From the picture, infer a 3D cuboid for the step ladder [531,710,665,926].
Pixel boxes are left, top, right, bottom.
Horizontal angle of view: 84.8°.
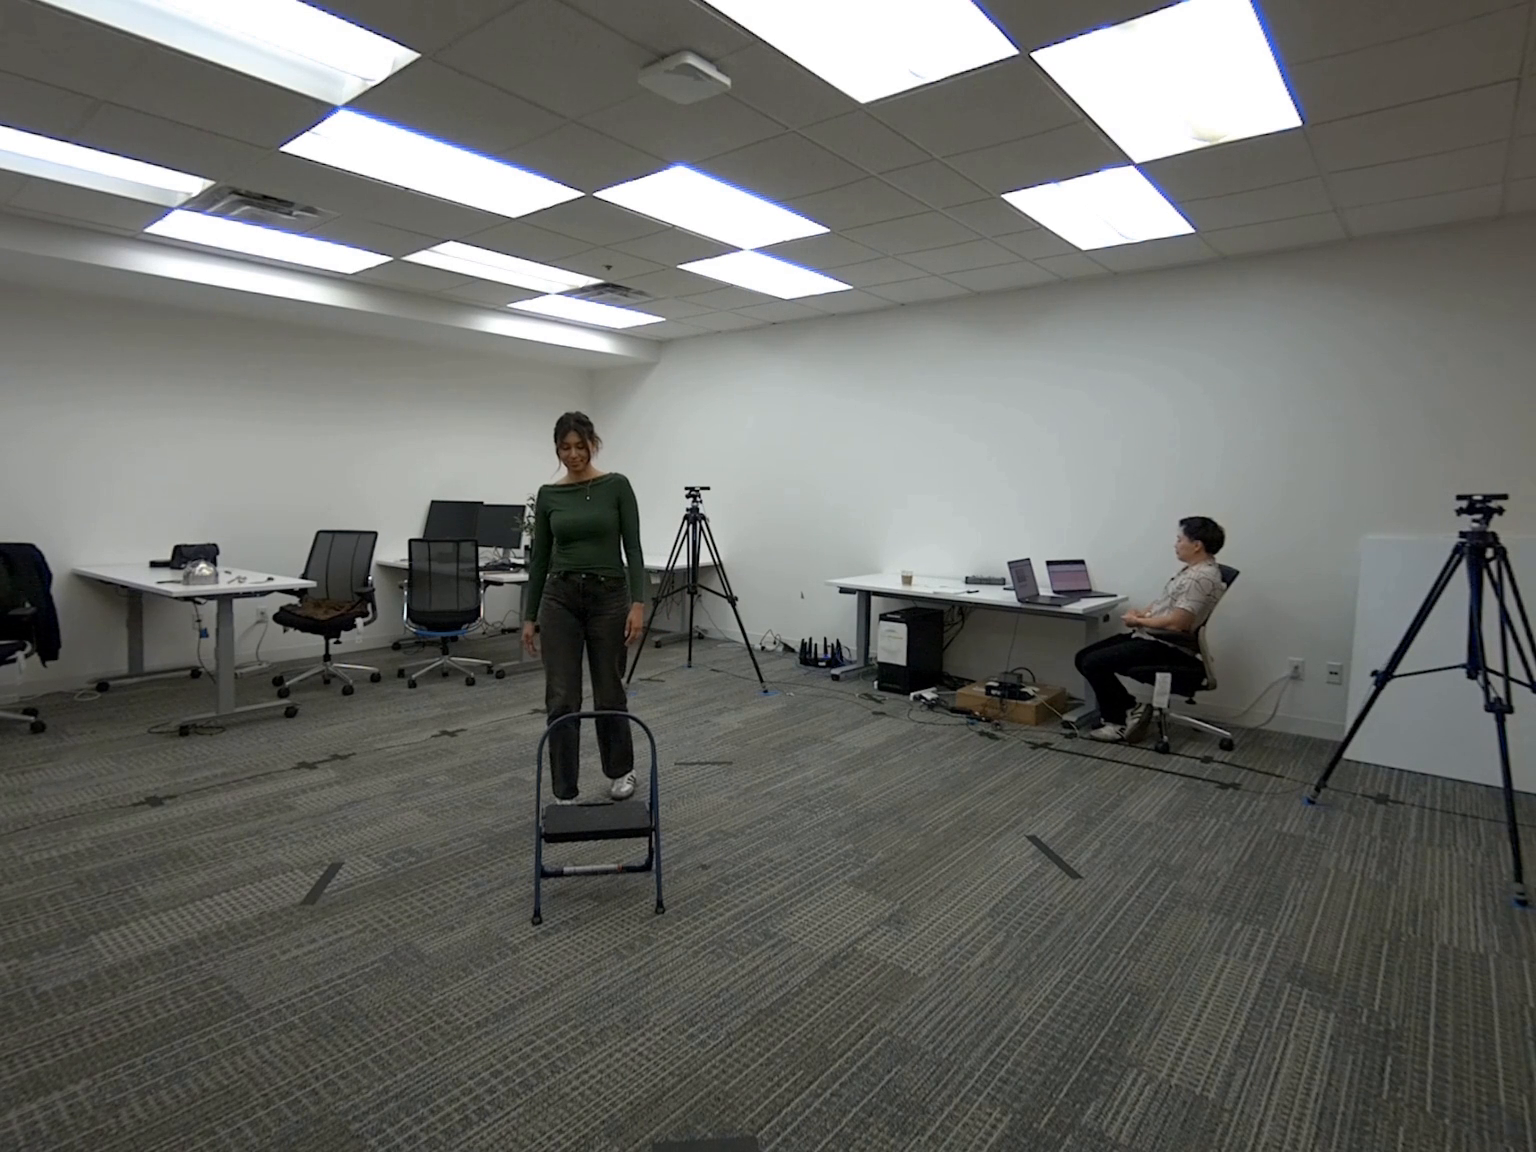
[{"bbox_3d":[-0.585,0.781,2.891,0.425,0.604,0.355,0,3,-12],"label":"step ladder"}]
